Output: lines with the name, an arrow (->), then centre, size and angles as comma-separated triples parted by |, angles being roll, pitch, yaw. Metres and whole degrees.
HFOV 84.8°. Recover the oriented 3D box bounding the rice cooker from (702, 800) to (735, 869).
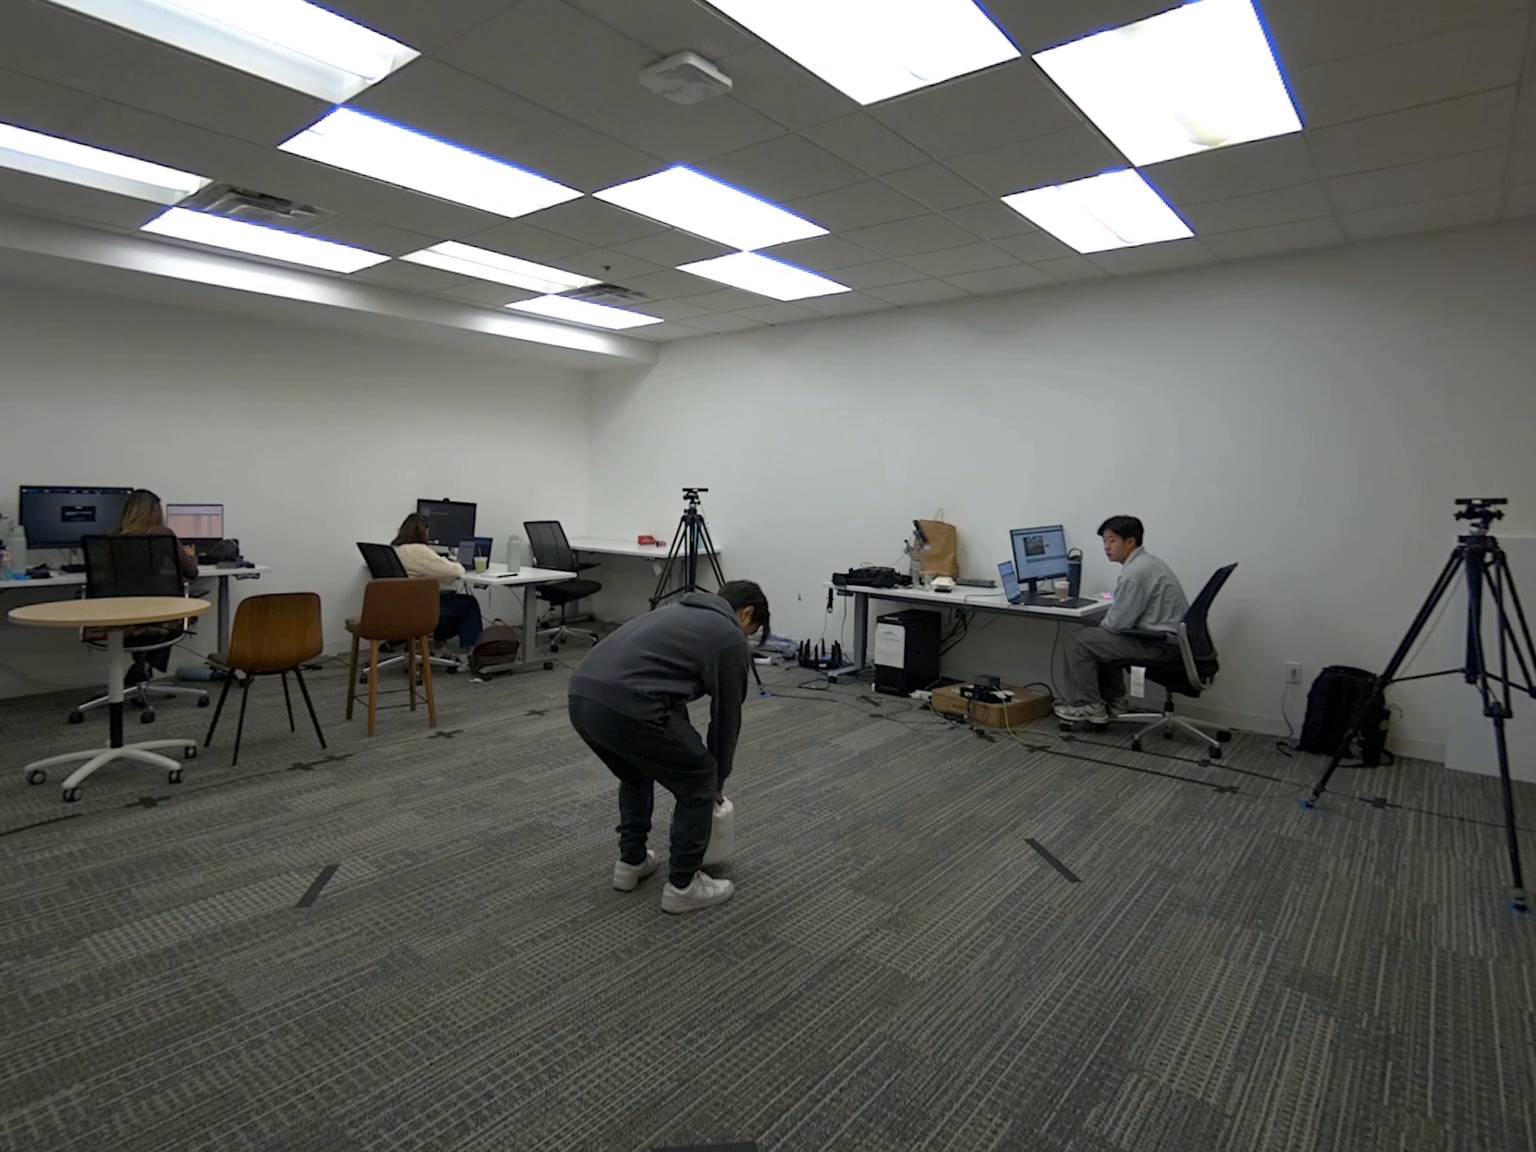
rice cooker -> -0.241, 0.905, 3.115 | 0.211, 0.232, 0.228 | -3, 6, -33
